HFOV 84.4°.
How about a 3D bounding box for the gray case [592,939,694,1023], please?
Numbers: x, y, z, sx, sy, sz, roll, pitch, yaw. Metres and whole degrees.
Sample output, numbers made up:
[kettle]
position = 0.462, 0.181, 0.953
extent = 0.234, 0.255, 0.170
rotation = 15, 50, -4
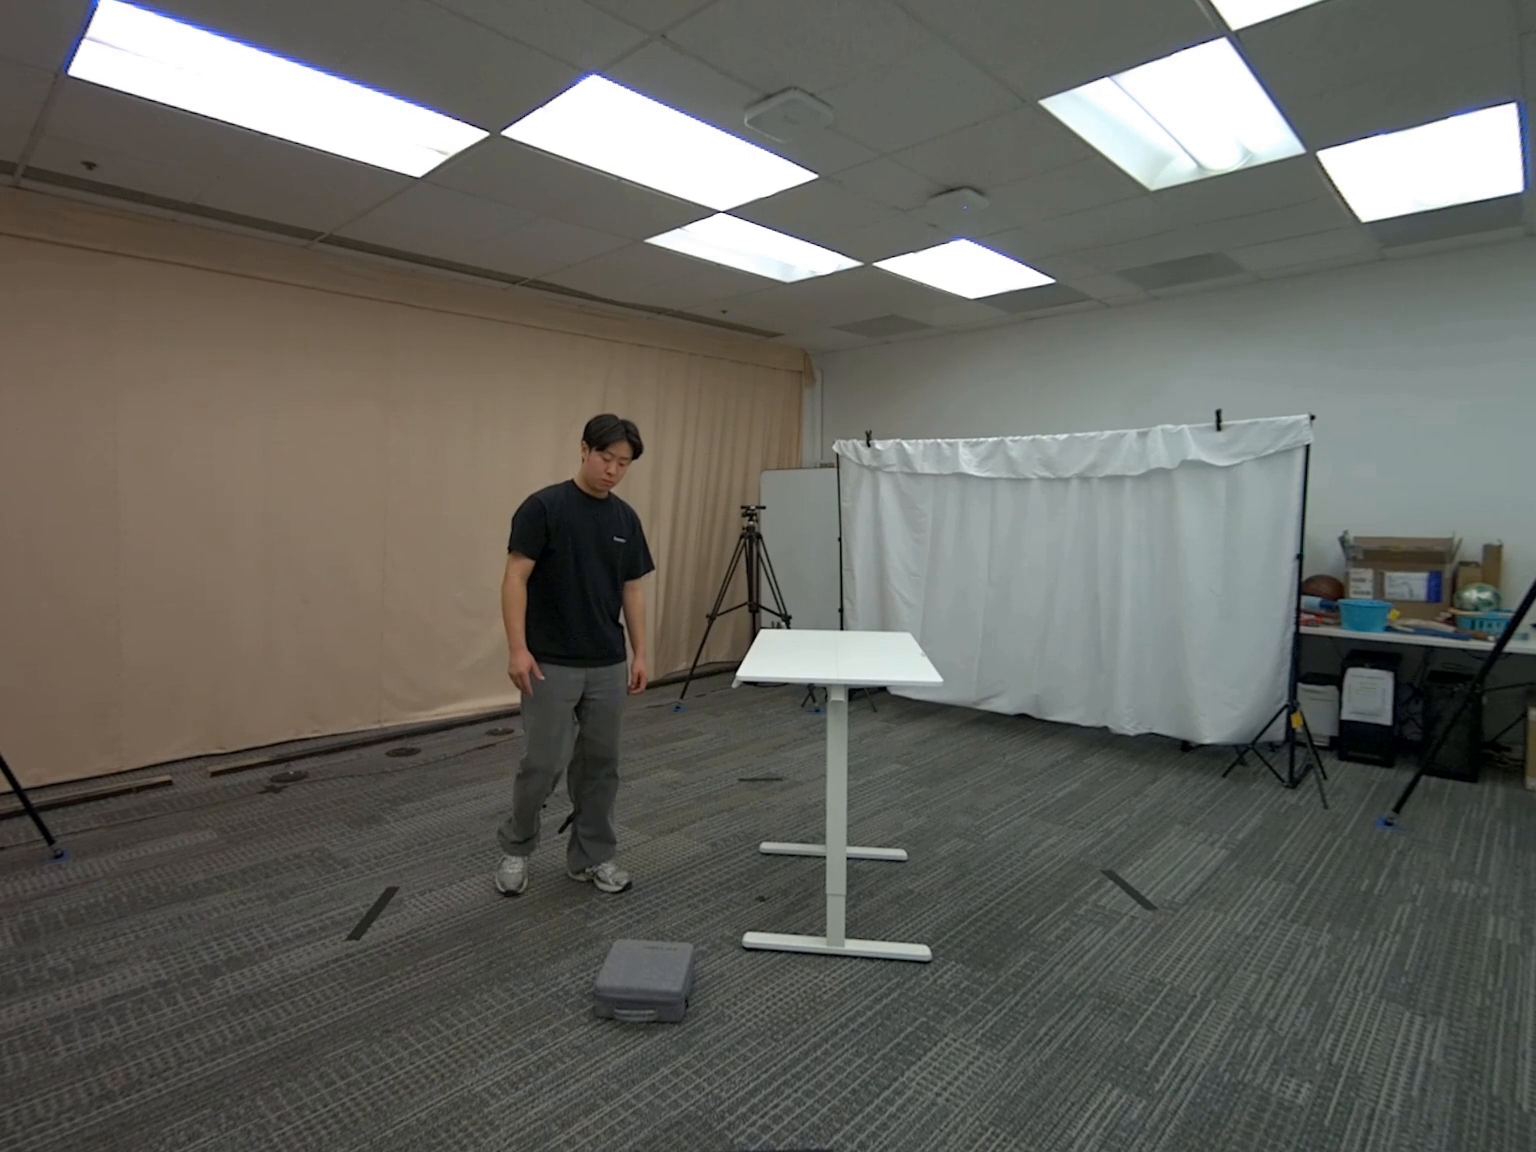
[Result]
[gray case]
position = -0.341, 1.142, 2.372
extent = 0.265, 0.103, 0.286
rotation = 1, 5, 6
